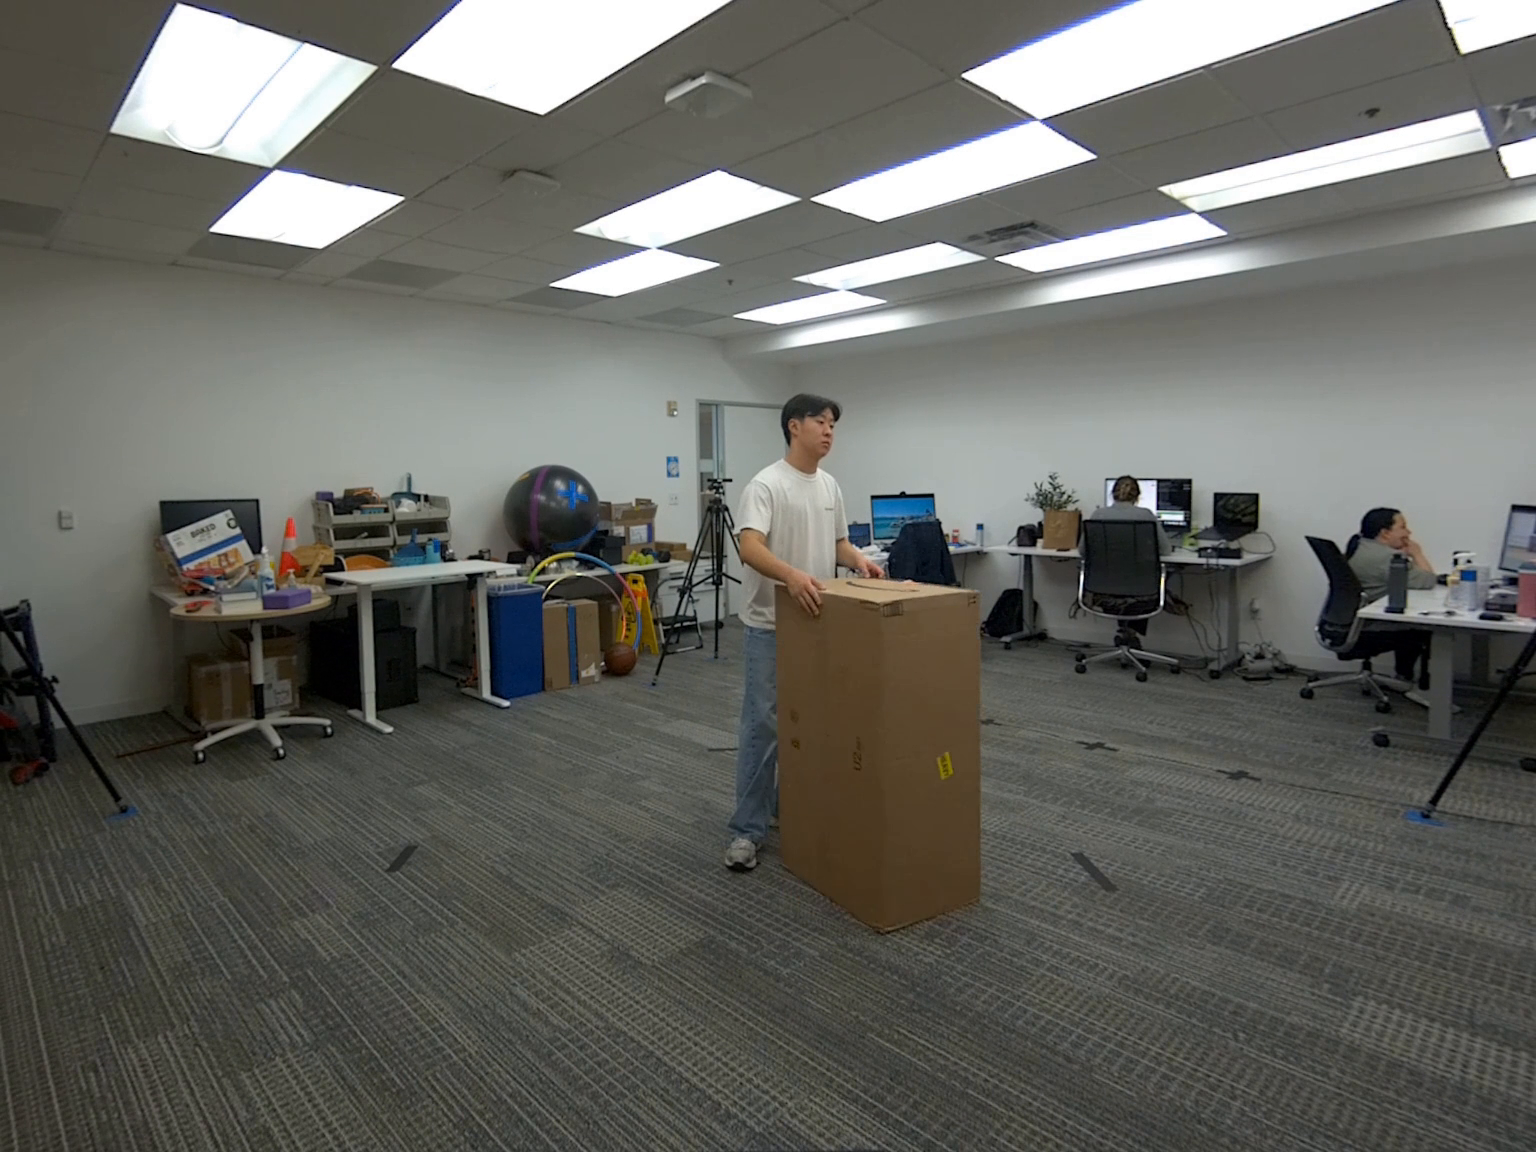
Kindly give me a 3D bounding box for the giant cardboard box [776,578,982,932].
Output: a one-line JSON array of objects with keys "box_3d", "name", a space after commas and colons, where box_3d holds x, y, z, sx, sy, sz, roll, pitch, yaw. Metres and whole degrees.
[{"box_3d": [0.372, 0.550, 2.924, 0.416, 1.023, 0.593, -3, 4, -32], "name": "giant cardboard box"}]
